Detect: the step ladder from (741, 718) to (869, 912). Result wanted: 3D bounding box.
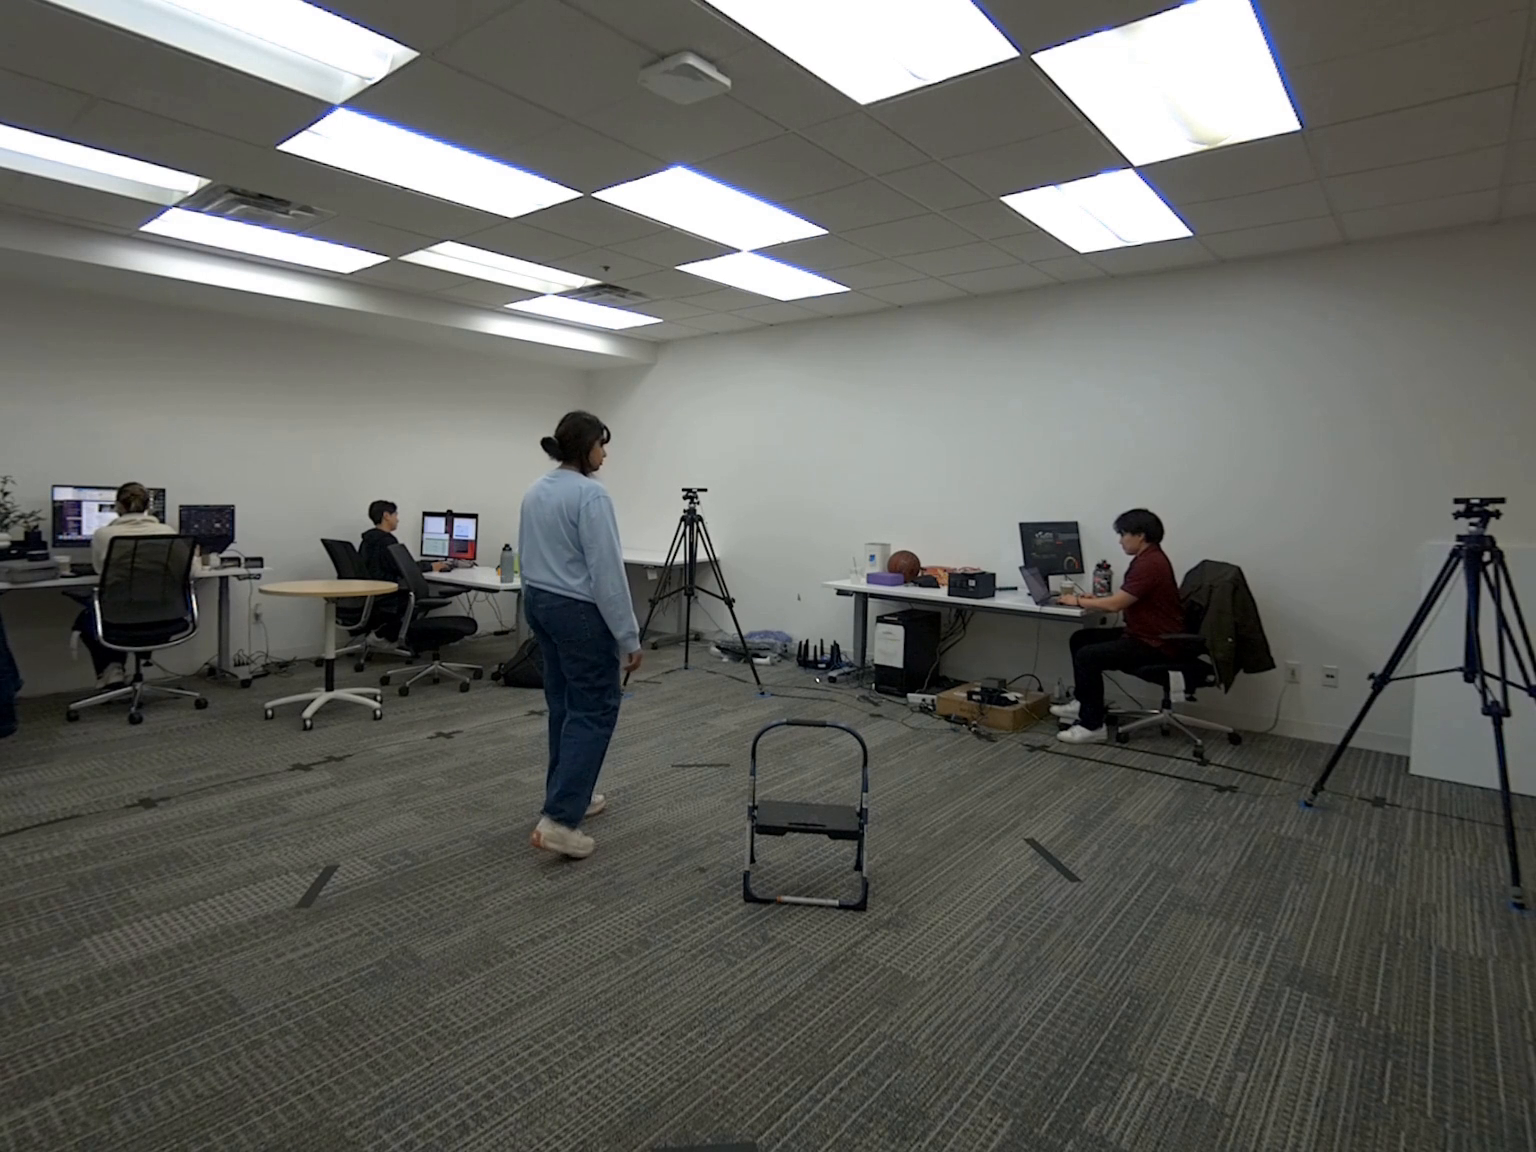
[{"bbox_3d":[0.132,0.785,2.992,0.433,0.605,0.348,1,3,4],"label":"step ladder"}]
